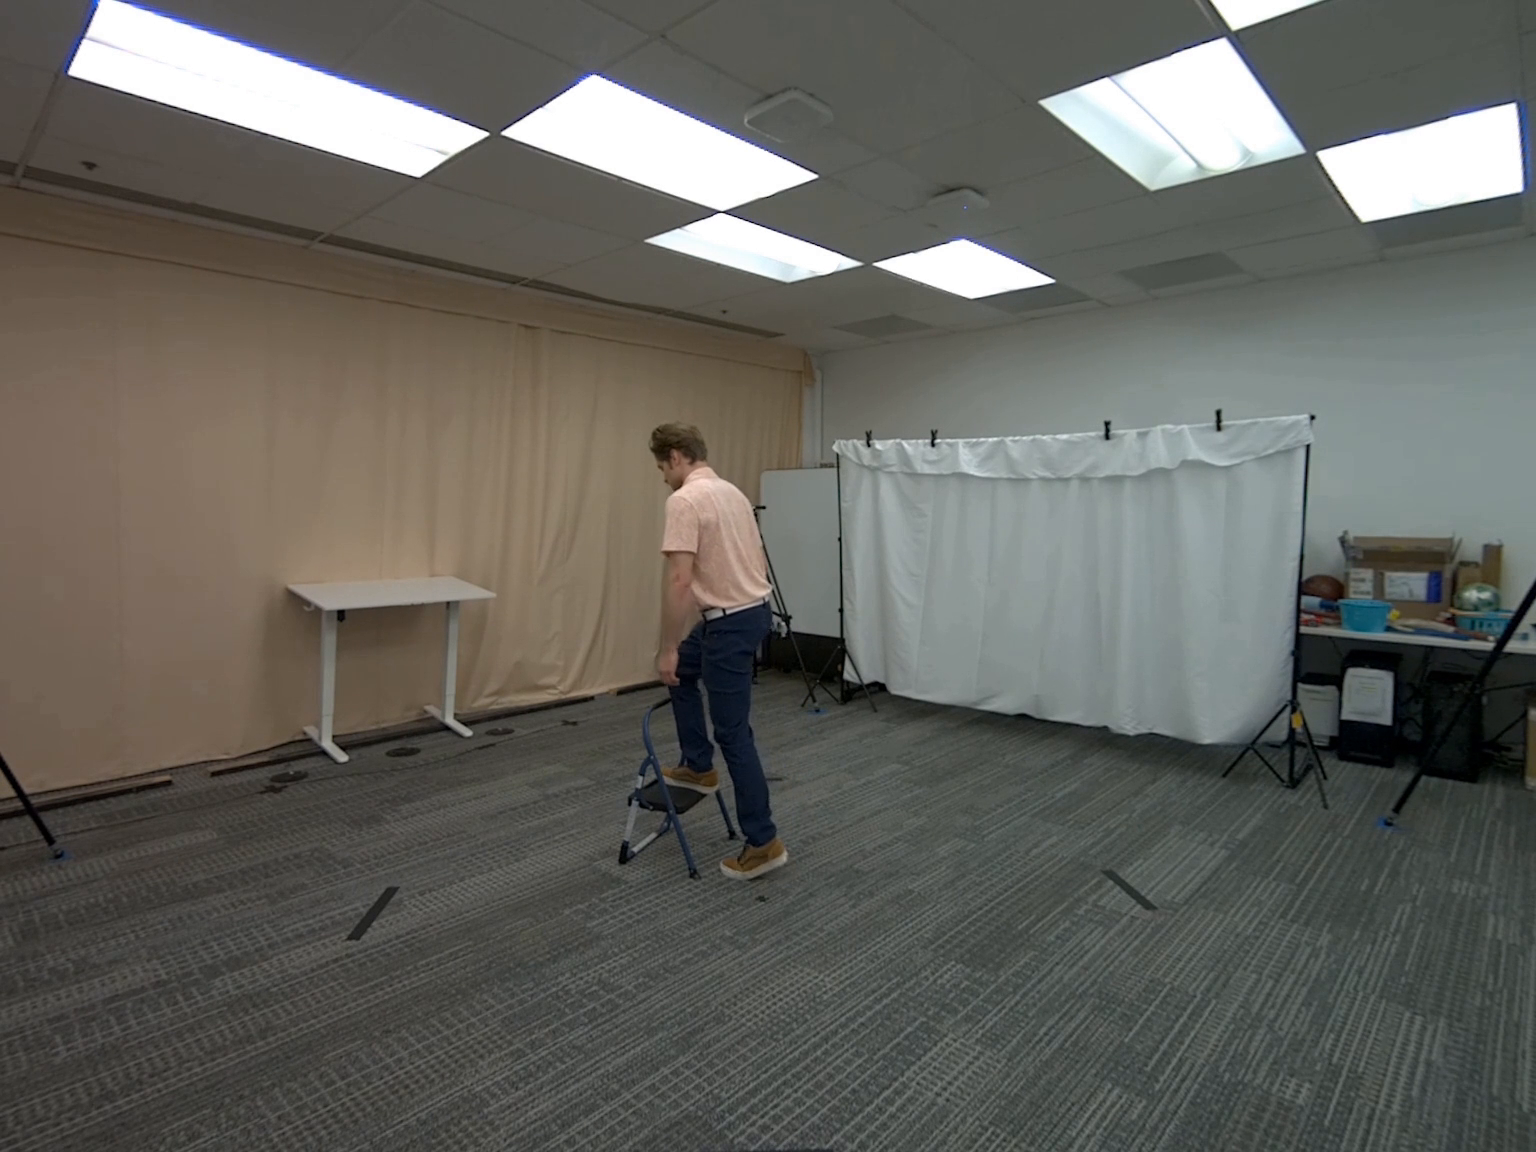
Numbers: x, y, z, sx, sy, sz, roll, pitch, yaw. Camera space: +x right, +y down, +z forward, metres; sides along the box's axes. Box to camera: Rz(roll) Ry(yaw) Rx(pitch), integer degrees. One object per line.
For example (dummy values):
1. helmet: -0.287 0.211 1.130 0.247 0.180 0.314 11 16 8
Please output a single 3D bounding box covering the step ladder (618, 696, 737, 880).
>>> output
1. step ladder: -0.359 0.811 3.389 0.357 0.605 0.422 0 3 21
